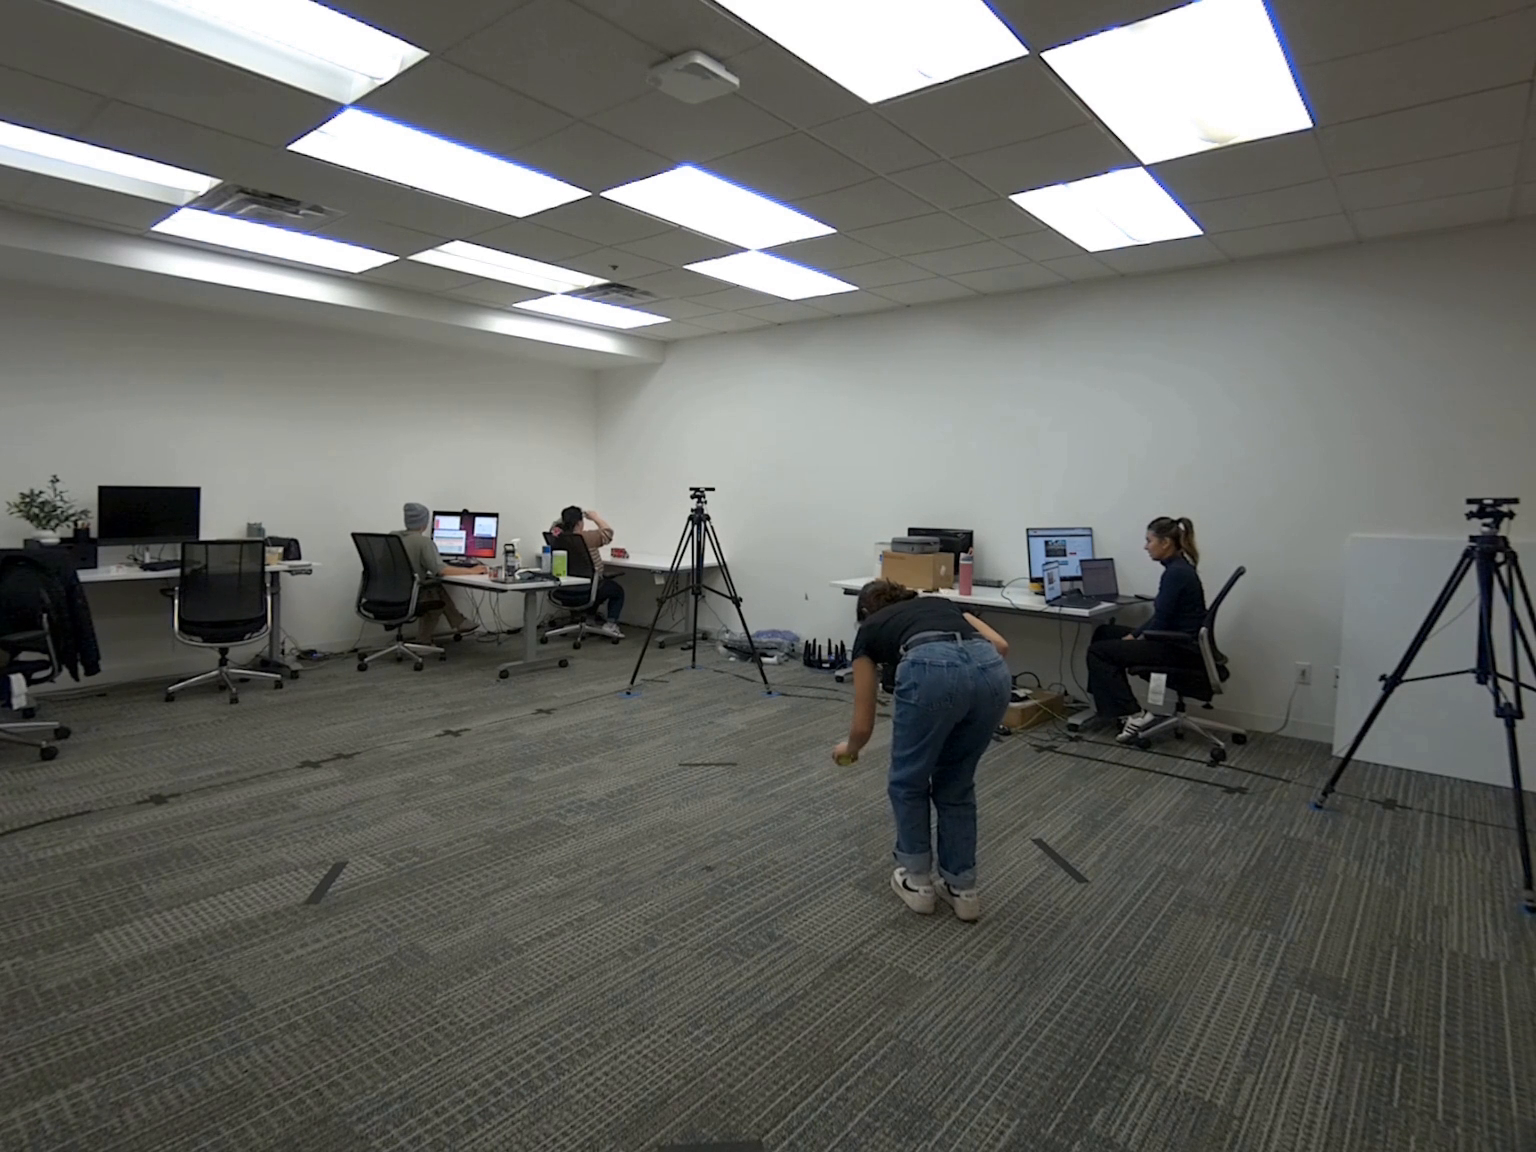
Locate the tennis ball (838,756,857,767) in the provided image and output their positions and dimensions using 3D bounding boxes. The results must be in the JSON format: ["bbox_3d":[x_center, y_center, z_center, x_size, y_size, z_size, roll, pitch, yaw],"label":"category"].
[{"bbox_3d":[0.274,0.696,3.232,0.066,0.066,0.067,1,4,-2],"label":"tennis ball"}]
